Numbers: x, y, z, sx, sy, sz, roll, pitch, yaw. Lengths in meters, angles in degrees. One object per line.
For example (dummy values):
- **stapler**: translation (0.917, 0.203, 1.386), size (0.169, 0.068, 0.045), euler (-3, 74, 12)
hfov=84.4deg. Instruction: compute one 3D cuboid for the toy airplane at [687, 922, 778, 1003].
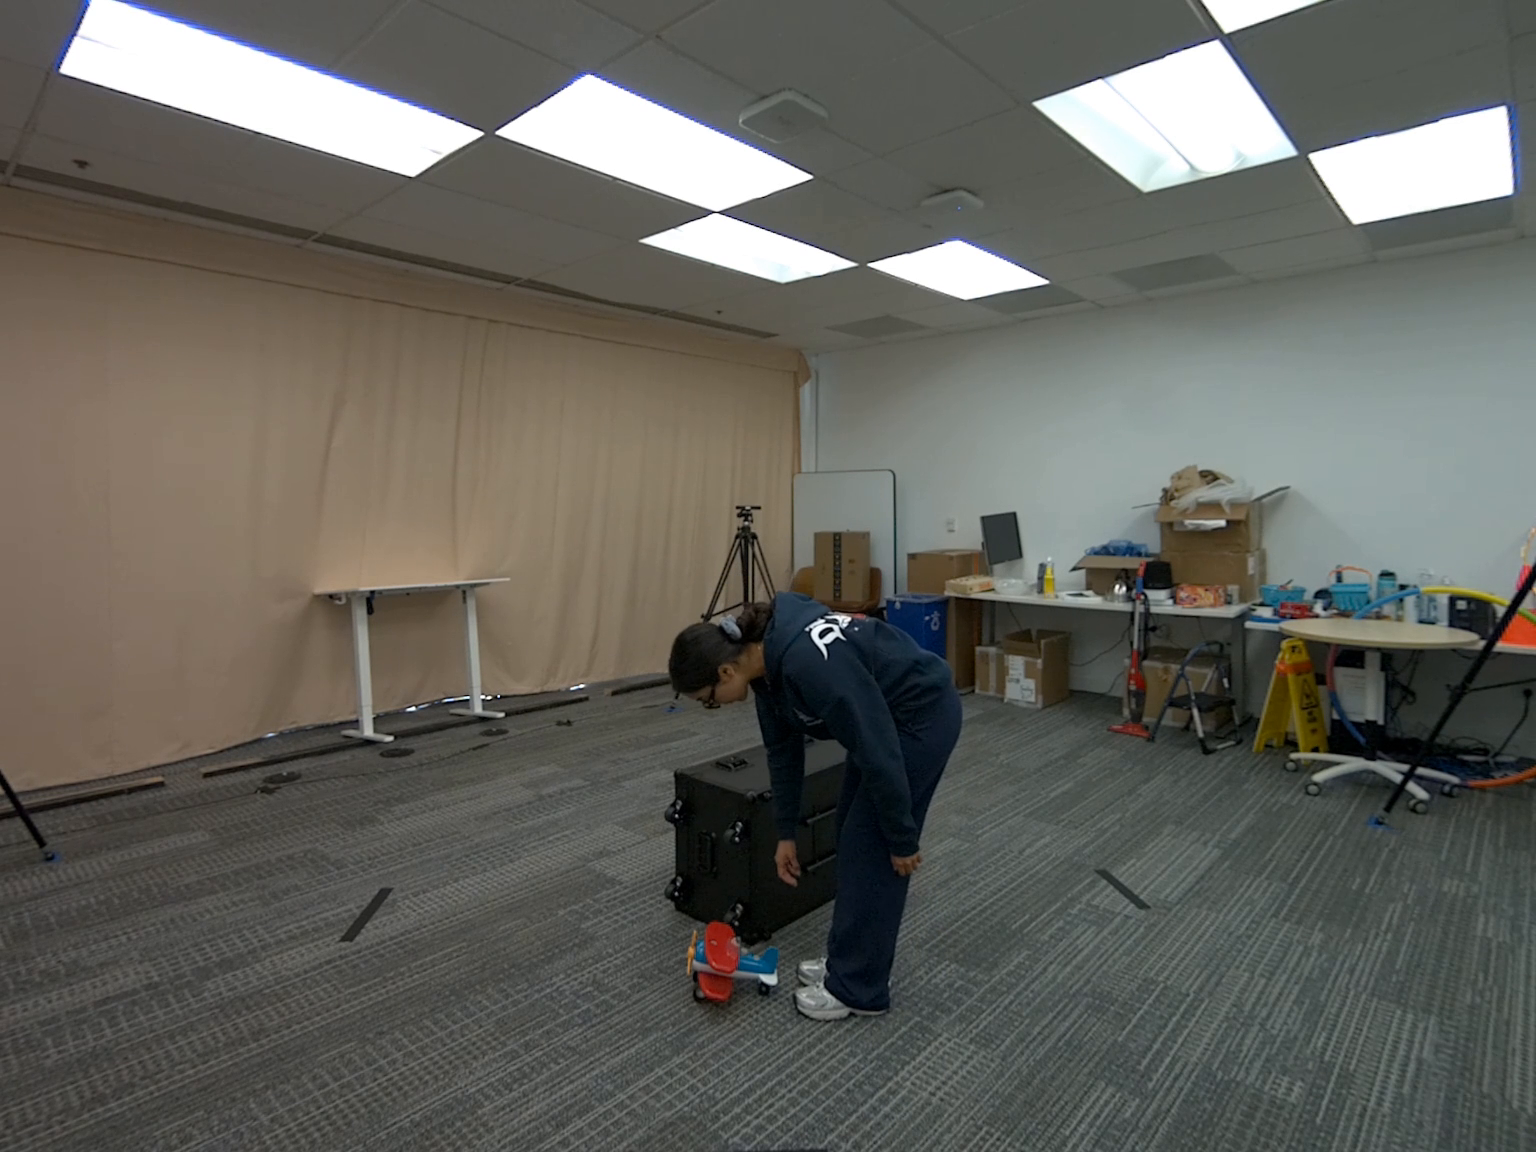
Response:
- **toy airplane**: translation (-0.091, 1.119, 2.424), size (0.253, 0.156, 0.257), euler (0, 2, -24)
